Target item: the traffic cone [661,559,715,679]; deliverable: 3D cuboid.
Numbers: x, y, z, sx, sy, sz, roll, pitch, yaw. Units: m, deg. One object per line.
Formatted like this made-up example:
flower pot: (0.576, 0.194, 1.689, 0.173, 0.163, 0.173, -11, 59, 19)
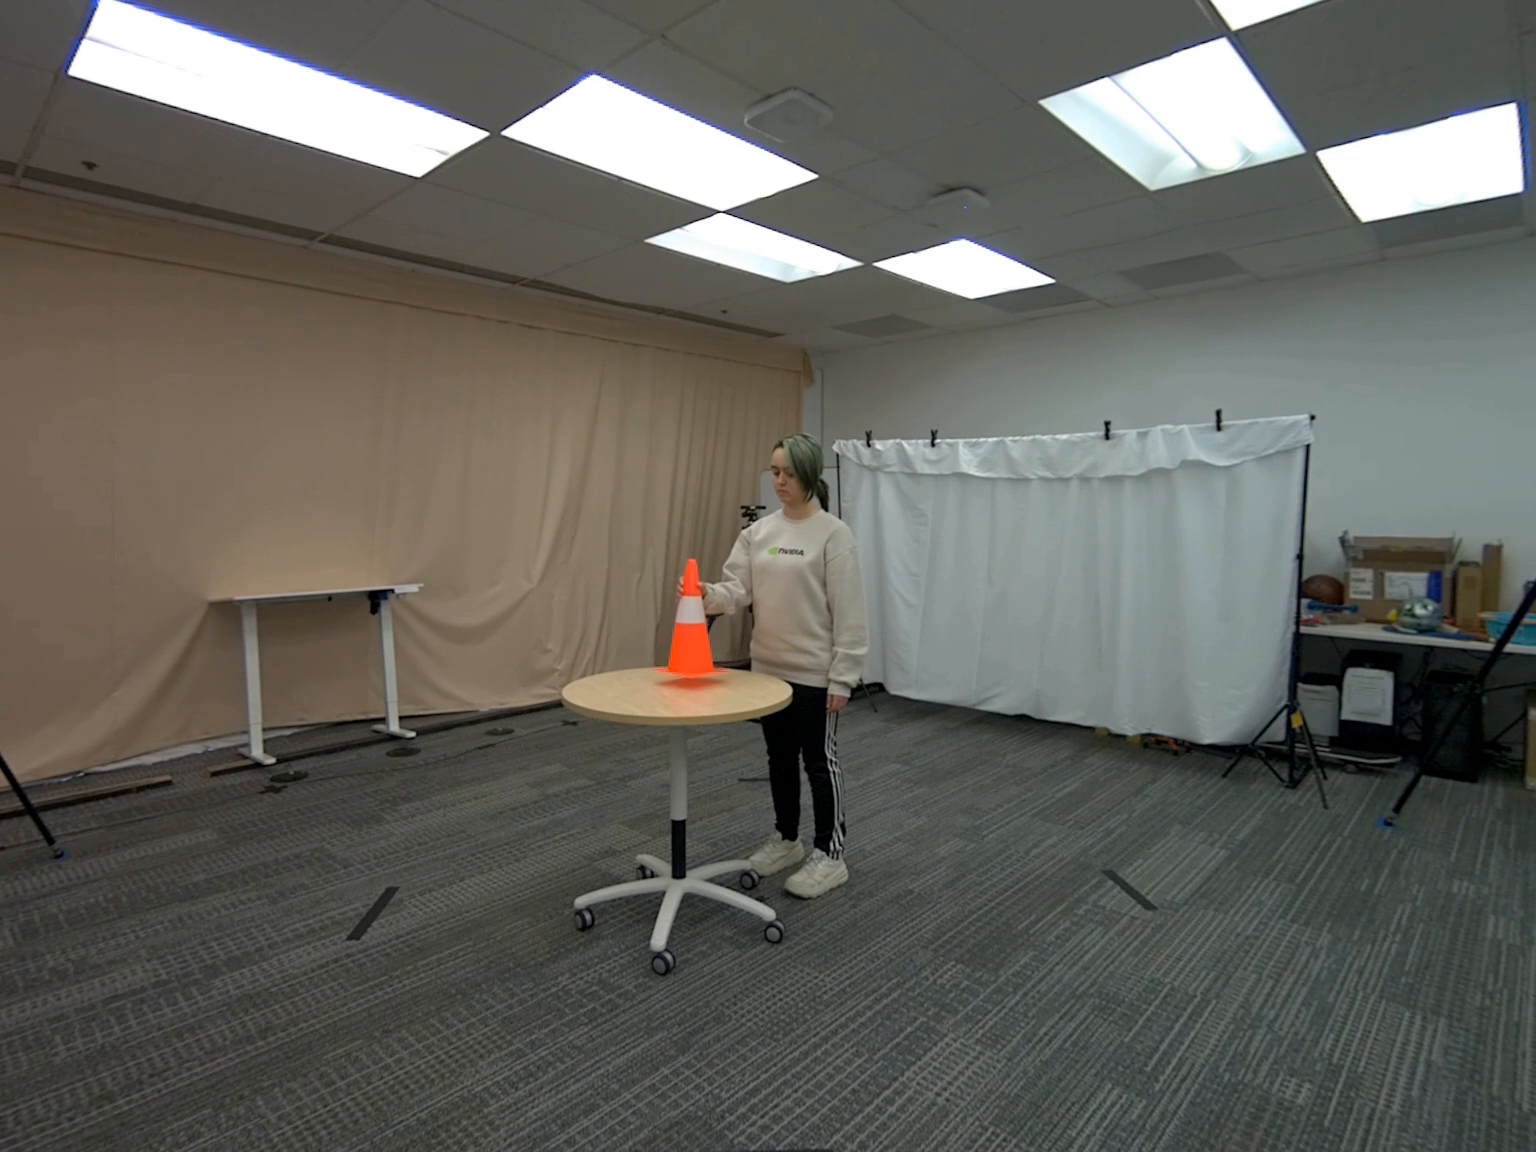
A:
traffic cone: (-0.270, 0.137, 2.890, 0.211, 0.383, 0.197, 0, 1, 38)
